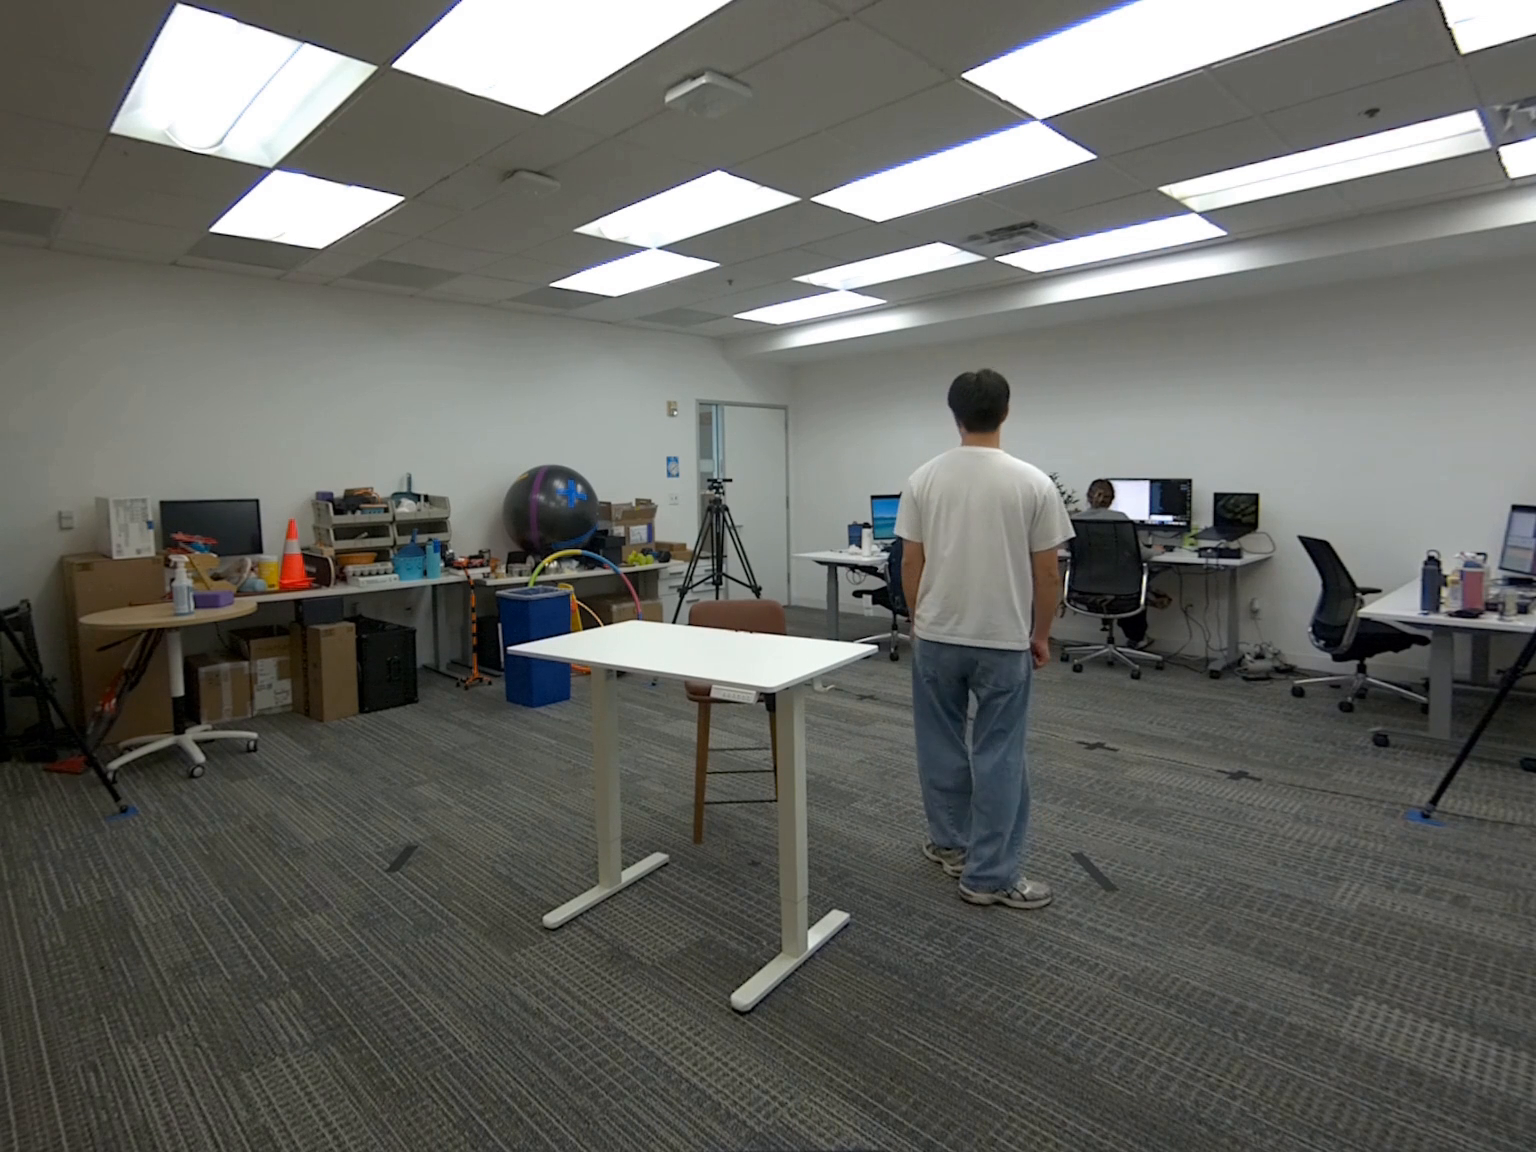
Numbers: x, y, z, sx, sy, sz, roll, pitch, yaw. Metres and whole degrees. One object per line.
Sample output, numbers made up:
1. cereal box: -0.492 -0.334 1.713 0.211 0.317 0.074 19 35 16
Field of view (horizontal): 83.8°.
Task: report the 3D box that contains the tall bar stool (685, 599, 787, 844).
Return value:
1. tall bar stool: -0.102 0.568 3.494 0.455 0.888 0.470 -1 2 -5
